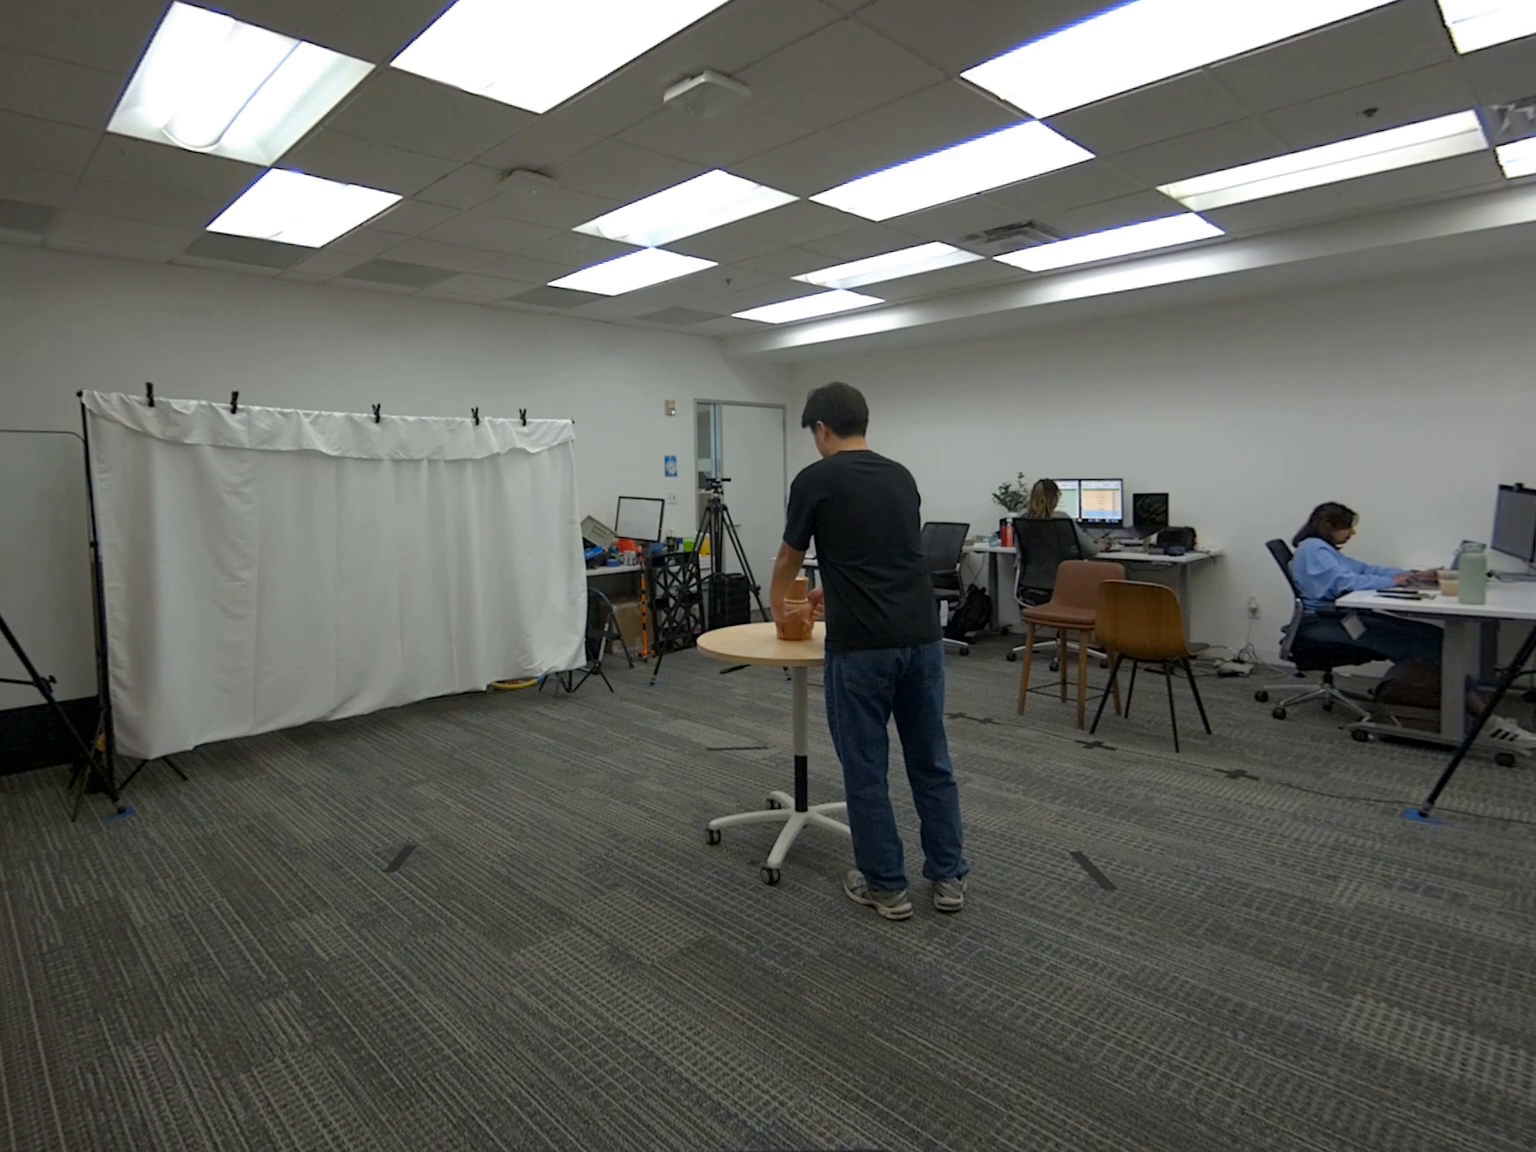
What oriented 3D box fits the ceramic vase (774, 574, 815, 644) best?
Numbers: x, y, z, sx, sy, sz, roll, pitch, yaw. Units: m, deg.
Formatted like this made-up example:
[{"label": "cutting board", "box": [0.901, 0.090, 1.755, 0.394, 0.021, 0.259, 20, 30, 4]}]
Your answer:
[{"label": "ceramic vase", "box": [0.110, 0.116, 3.199, 0.162, 0.218, 0.132, 7, 7, 21]}]
